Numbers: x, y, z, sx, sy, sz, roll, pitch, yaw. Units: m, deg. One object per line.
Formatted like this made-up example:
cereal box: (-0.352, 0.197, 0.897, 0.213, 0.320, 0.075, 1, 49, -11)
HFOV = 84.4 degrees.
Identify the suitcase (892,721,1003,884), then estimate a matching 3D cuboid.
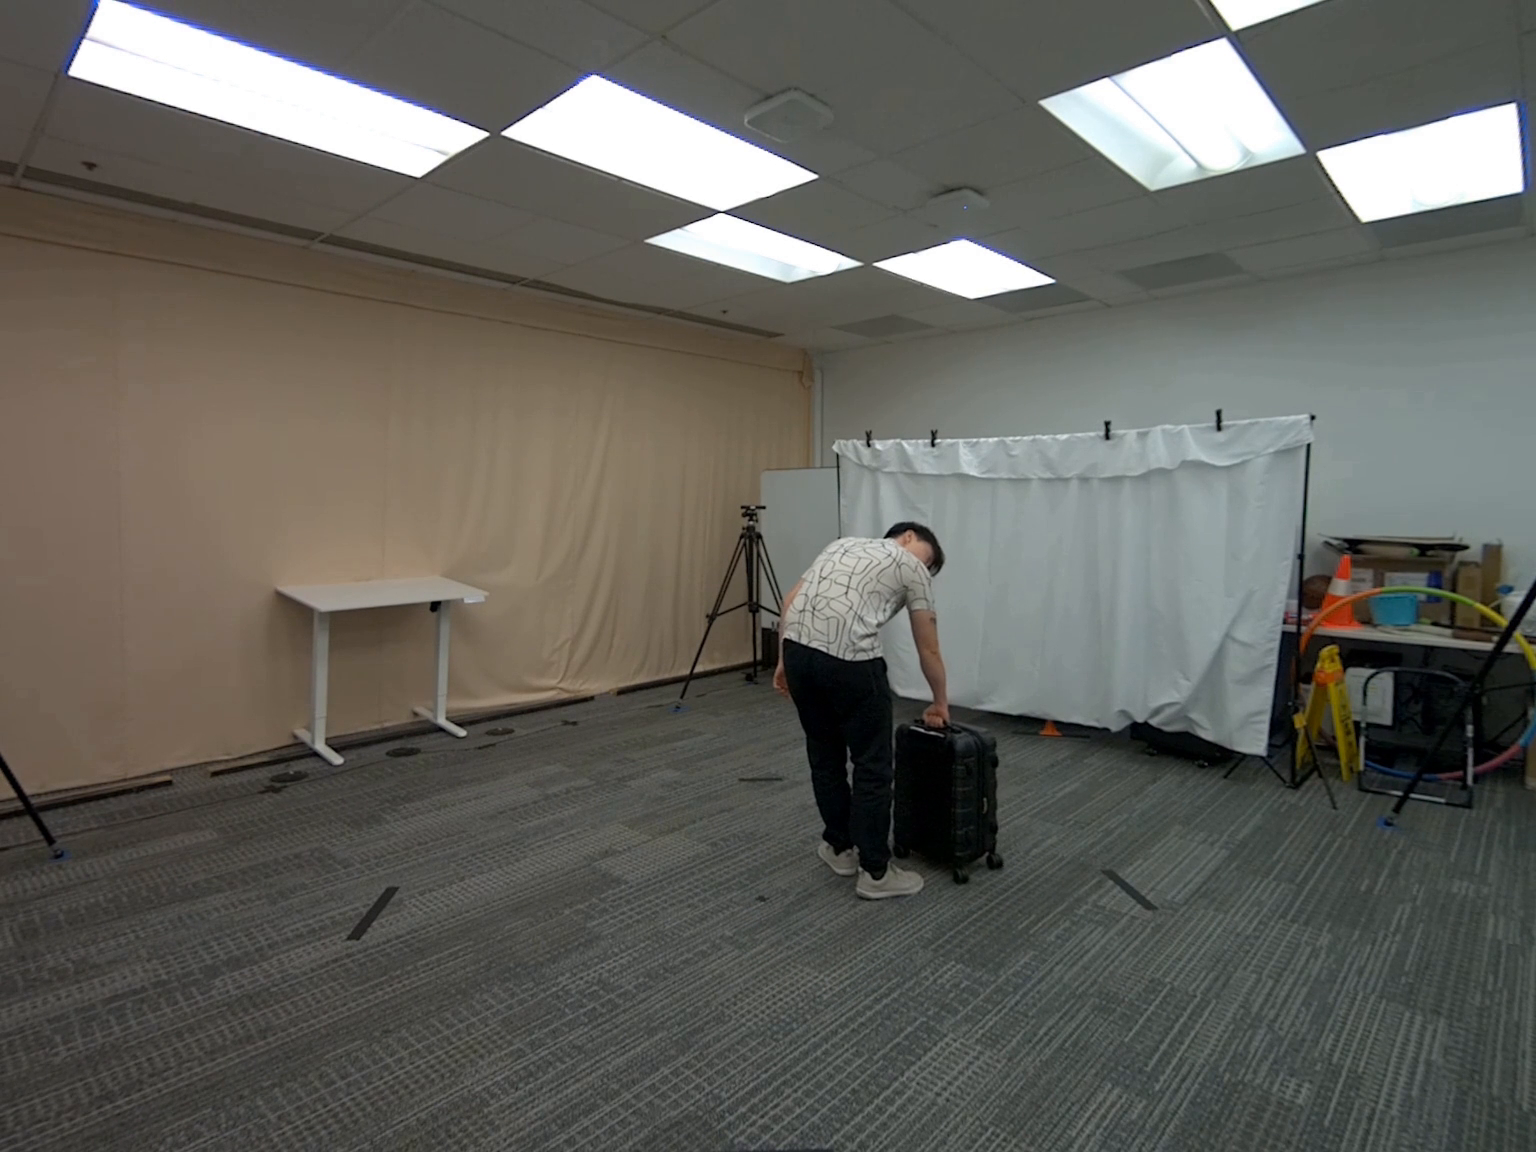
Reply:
suitcase: (0.696, 0.840, 3.293, 0.241, 0.549, 0.387, 0, 1, -37)
